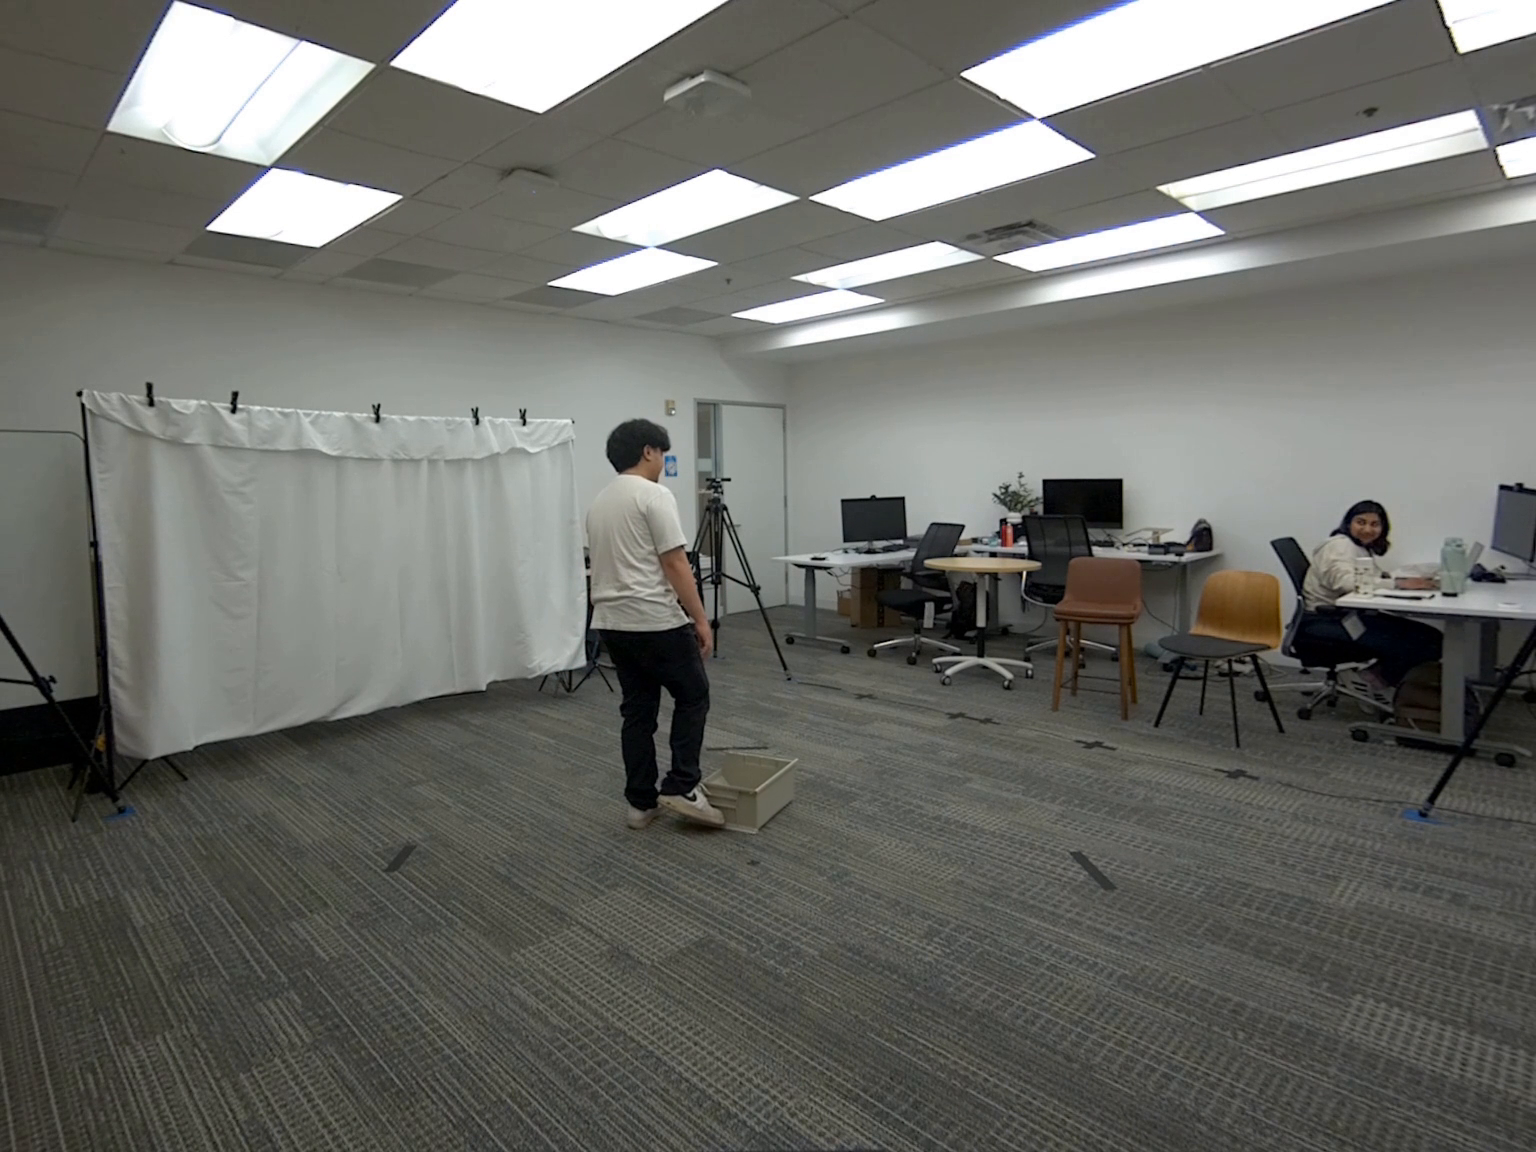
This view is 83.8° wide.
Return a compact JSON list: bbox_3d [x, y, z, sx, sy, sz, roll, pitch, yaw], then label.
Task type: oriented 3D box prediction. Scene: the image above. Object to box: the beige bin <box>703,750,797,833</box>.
[{"bbox_3d":[-0.127,0.894,3.604,0.387,0.188,0.414,3,6,26],"label":"beige bin"}]
